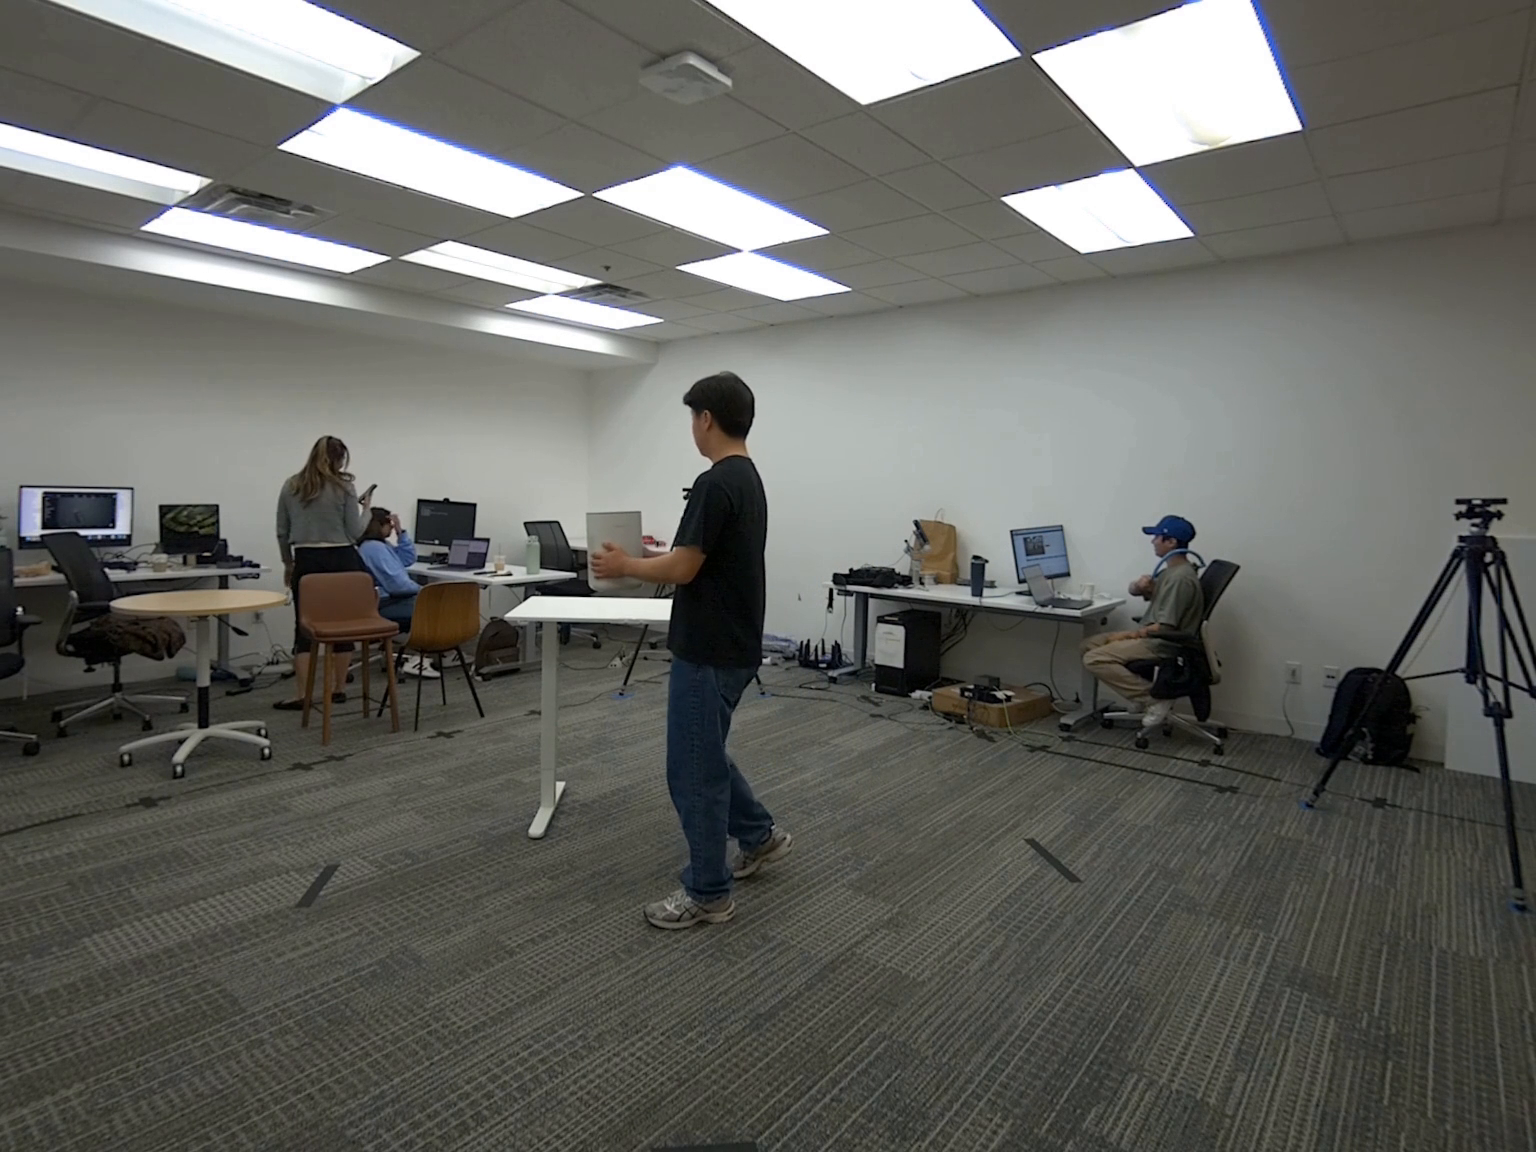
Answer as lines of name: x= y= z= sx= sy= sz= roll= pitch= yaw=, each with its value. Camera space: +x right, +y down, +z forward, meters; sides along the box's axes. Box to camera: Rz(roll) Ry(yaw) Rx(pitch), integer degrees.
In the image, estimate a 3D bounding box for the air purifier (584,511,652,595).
air purifier: x=-0.517 y=-0.086 z=2.883 sx=0.167 sy=0.265 sz=0.176 roll=-3 pitch=3 yaw=-27
